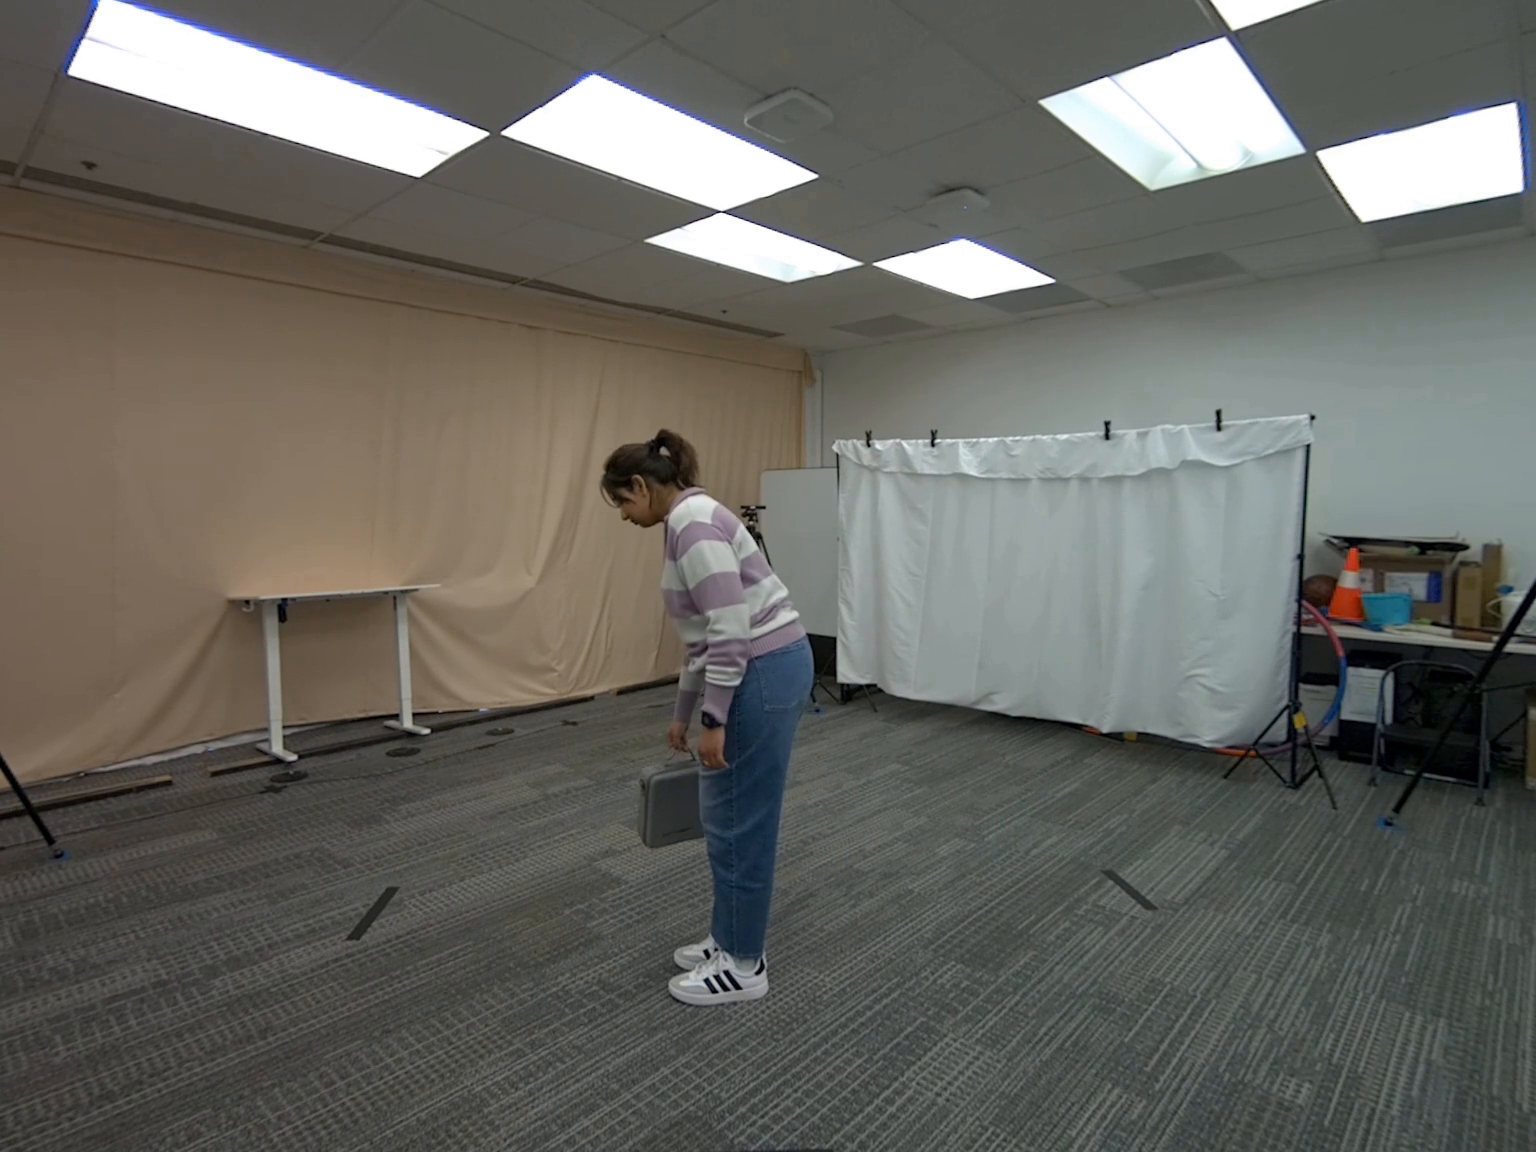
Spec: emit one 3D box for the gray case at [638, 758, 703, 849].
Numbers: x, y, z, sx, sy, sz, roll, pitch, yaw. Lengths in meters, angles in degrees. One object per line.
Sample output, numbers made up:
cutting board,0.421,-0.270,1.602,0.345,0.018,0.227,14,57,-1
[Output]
gray case,-0.282,0.724,2.701,0.250,0.259,0.107,-2,11,-26
